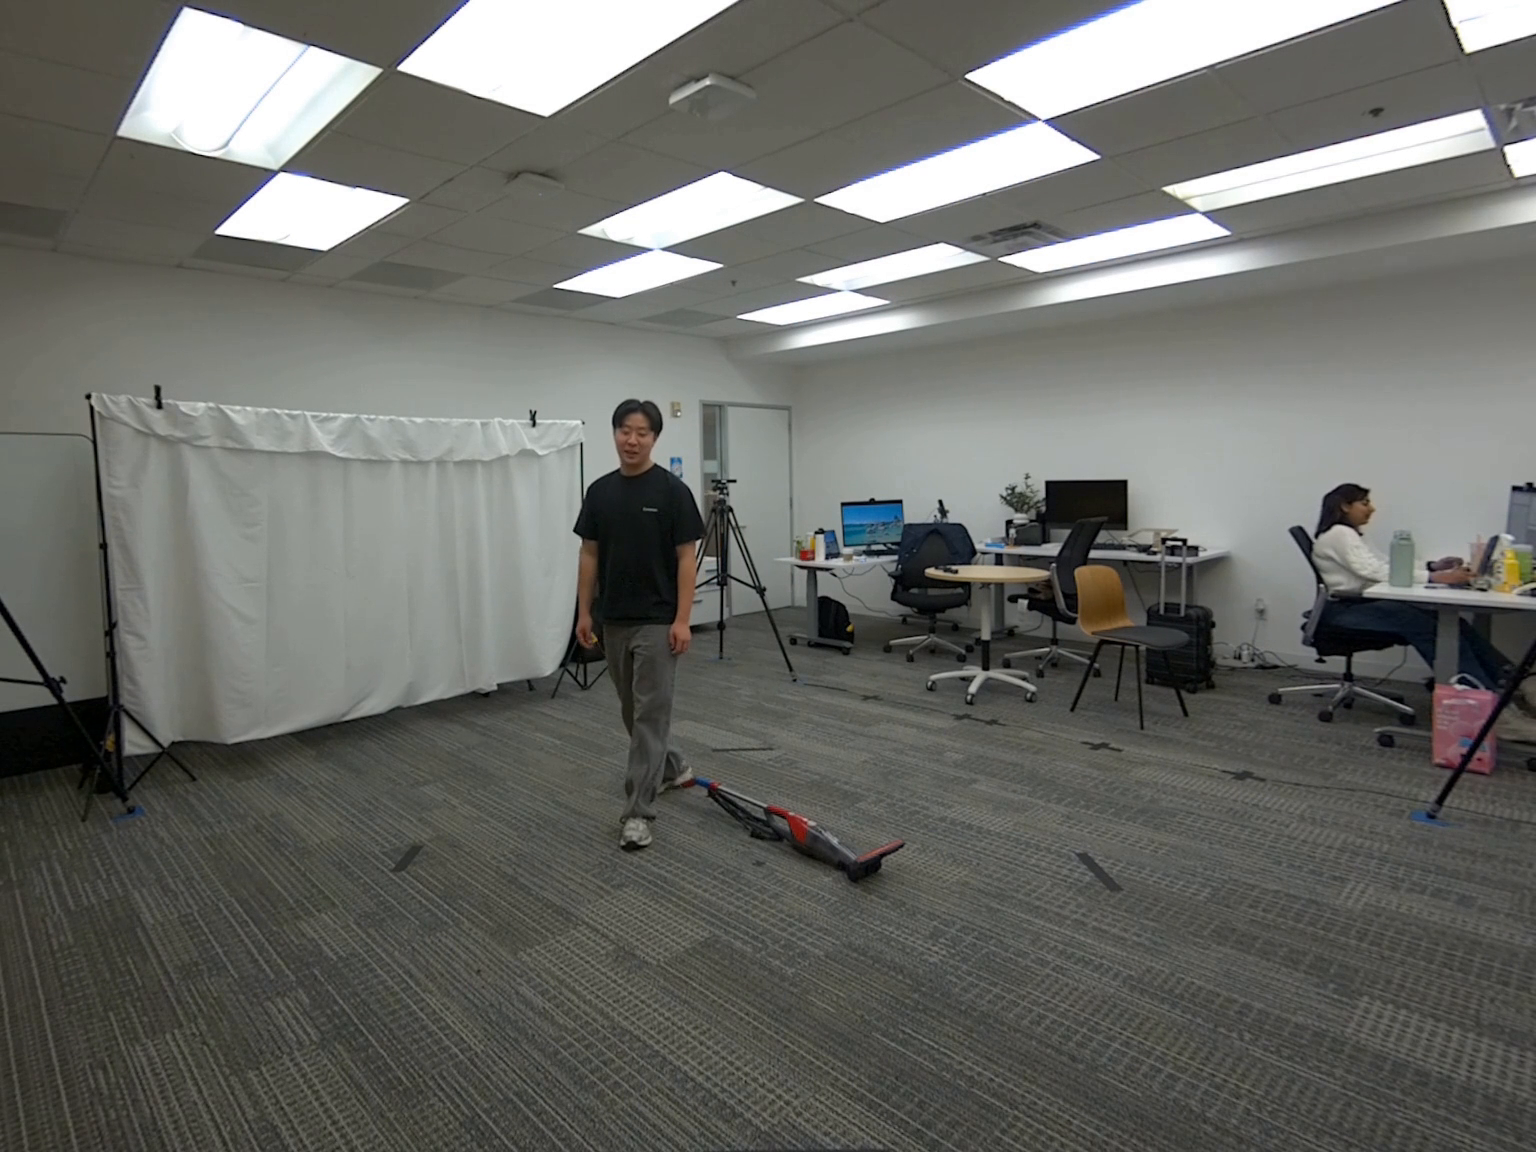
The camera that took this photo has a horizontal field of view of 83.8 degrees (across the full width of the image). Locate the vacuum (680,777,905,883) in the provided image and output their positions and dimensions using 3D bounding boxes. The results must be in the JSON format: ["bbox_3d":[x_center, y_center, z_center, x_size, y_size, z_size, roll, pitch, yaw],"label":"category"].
[{"bbox_3d":[0.008,0.964,3.349,0.246,0.143,1.082,-5,7,-42],"label":"vacuum"}]
